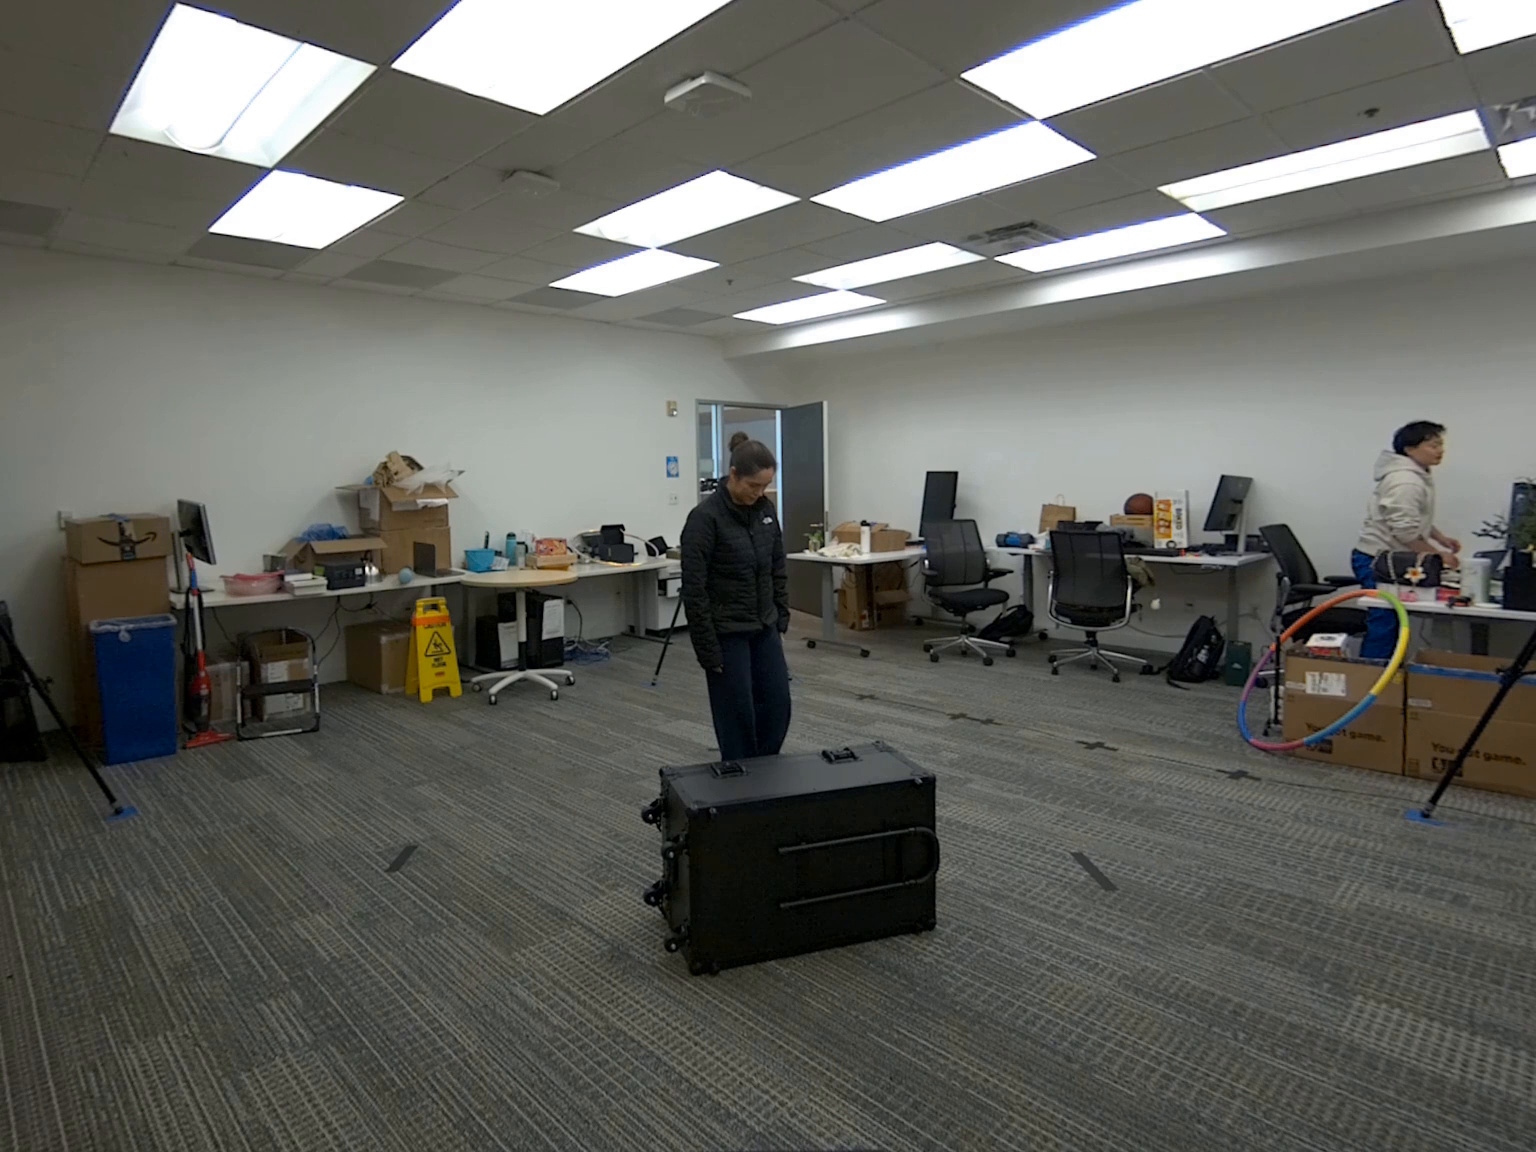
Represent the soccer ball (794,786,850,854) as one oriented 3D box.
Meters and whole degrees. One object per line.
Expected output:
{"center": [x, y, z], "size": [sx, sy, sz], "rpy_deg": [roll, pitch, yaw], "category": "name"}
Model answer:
{"center": [0.203, 0.929, 3.280], "size": [0.187, 0.187, 0.188], "rpy_deg": [-1, 5, -2], "category": "soccer ball"}
